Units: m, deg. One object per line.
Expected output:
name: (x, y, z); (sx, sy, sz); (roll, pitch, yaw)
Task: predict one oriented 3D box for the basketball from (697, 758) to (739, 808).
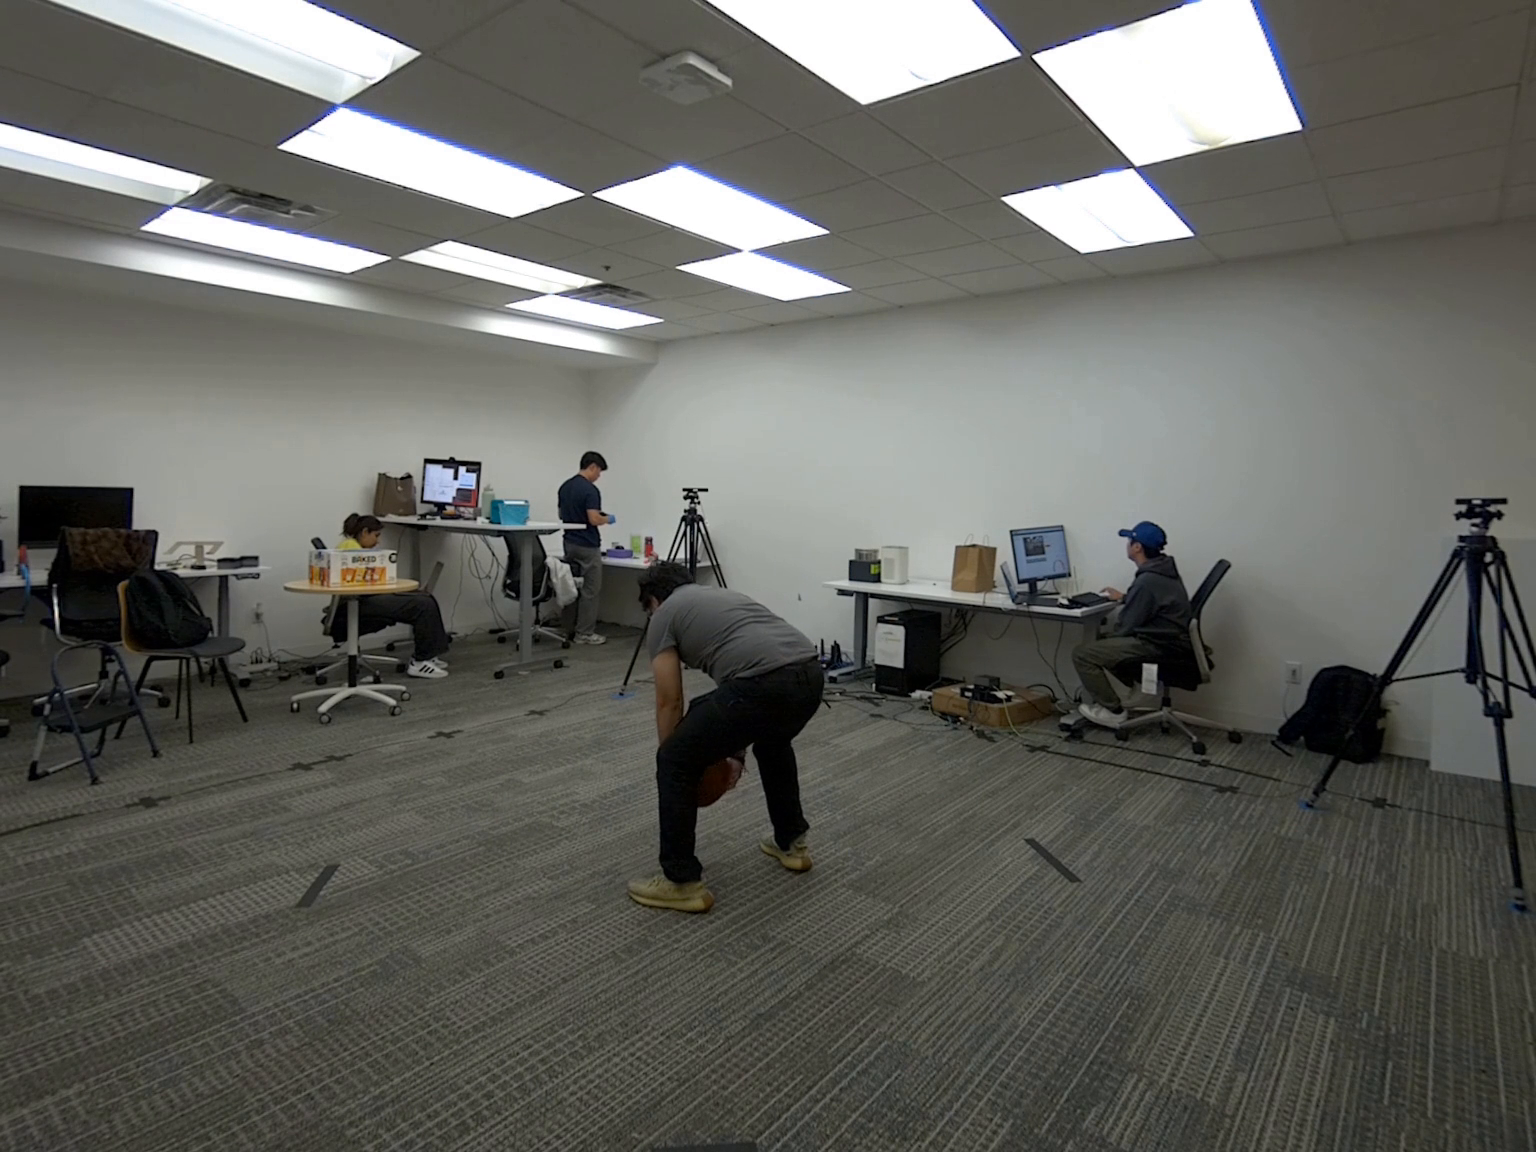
basketball: (-0.264, 0.729, 3.166); (0.235, 0.235, 0.237); (1, 4, -2)
